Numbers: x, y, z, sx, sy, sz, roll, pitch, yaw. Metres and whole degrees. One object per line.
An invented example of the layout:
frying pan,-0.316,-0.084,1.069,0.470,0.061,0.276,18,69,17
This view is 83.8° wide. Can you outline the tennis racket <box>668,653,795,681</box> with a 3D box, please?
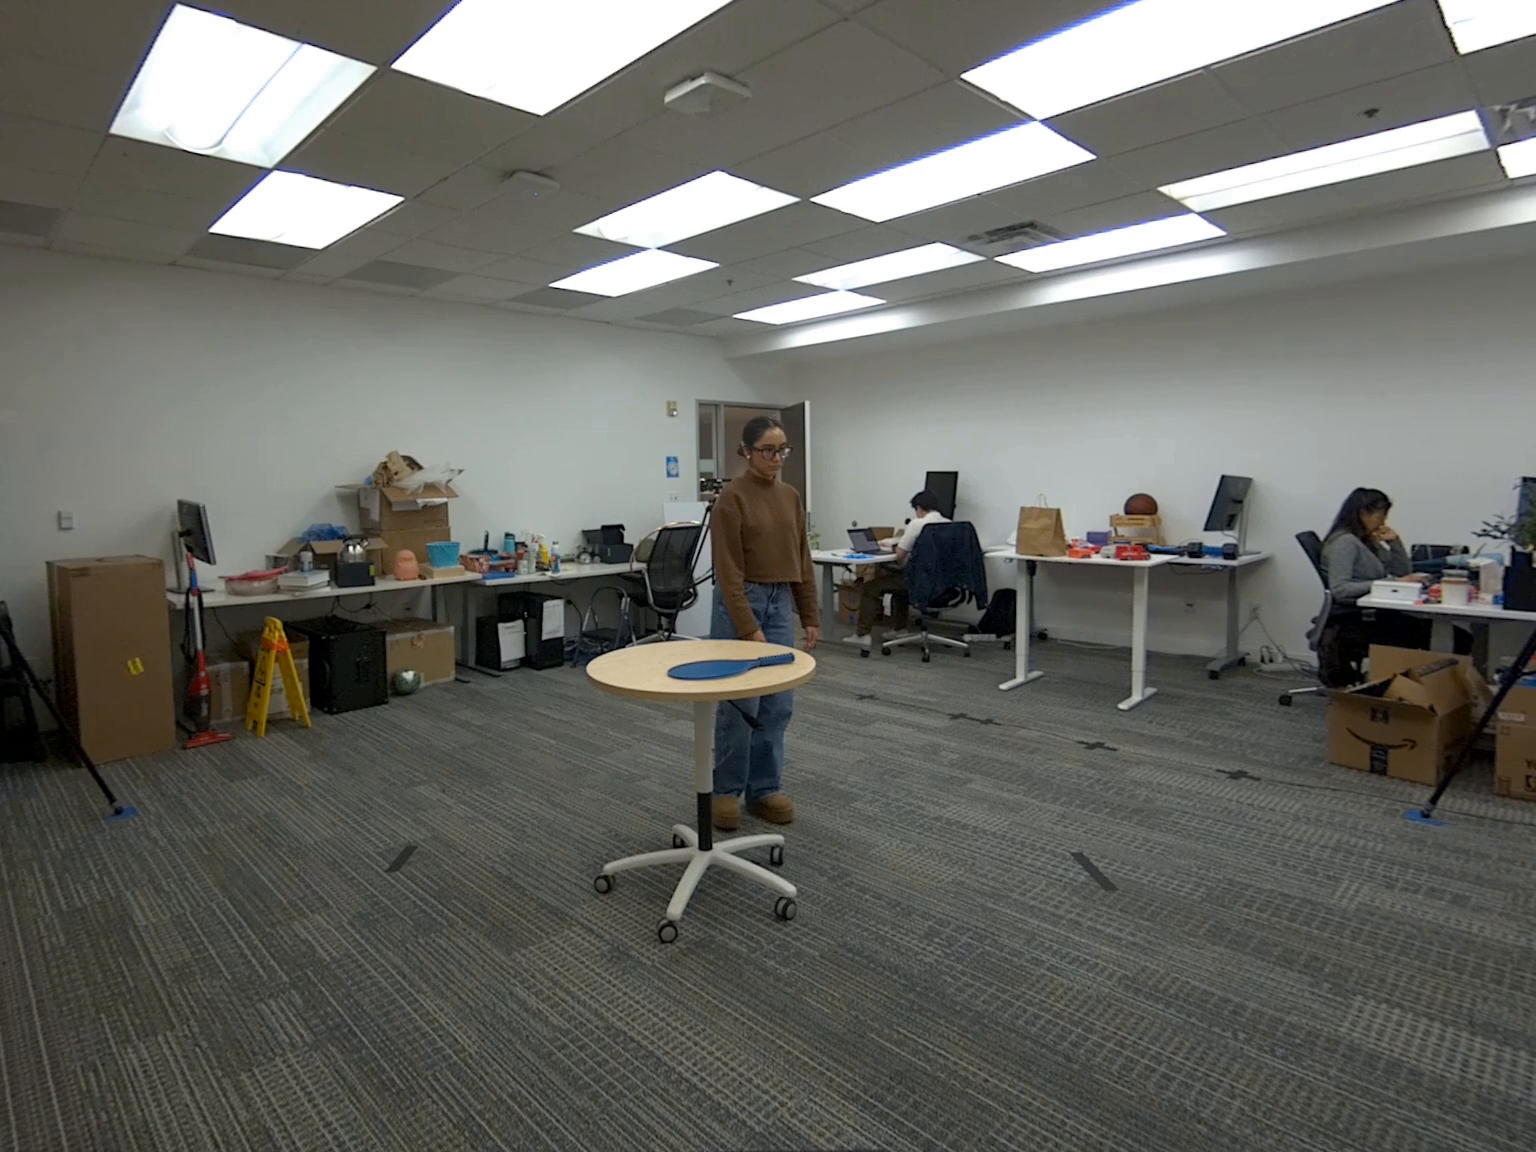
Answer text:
tennis racket,-0.124,0.294,2.765,0.425,0.031,0.219,-6,9,-23
